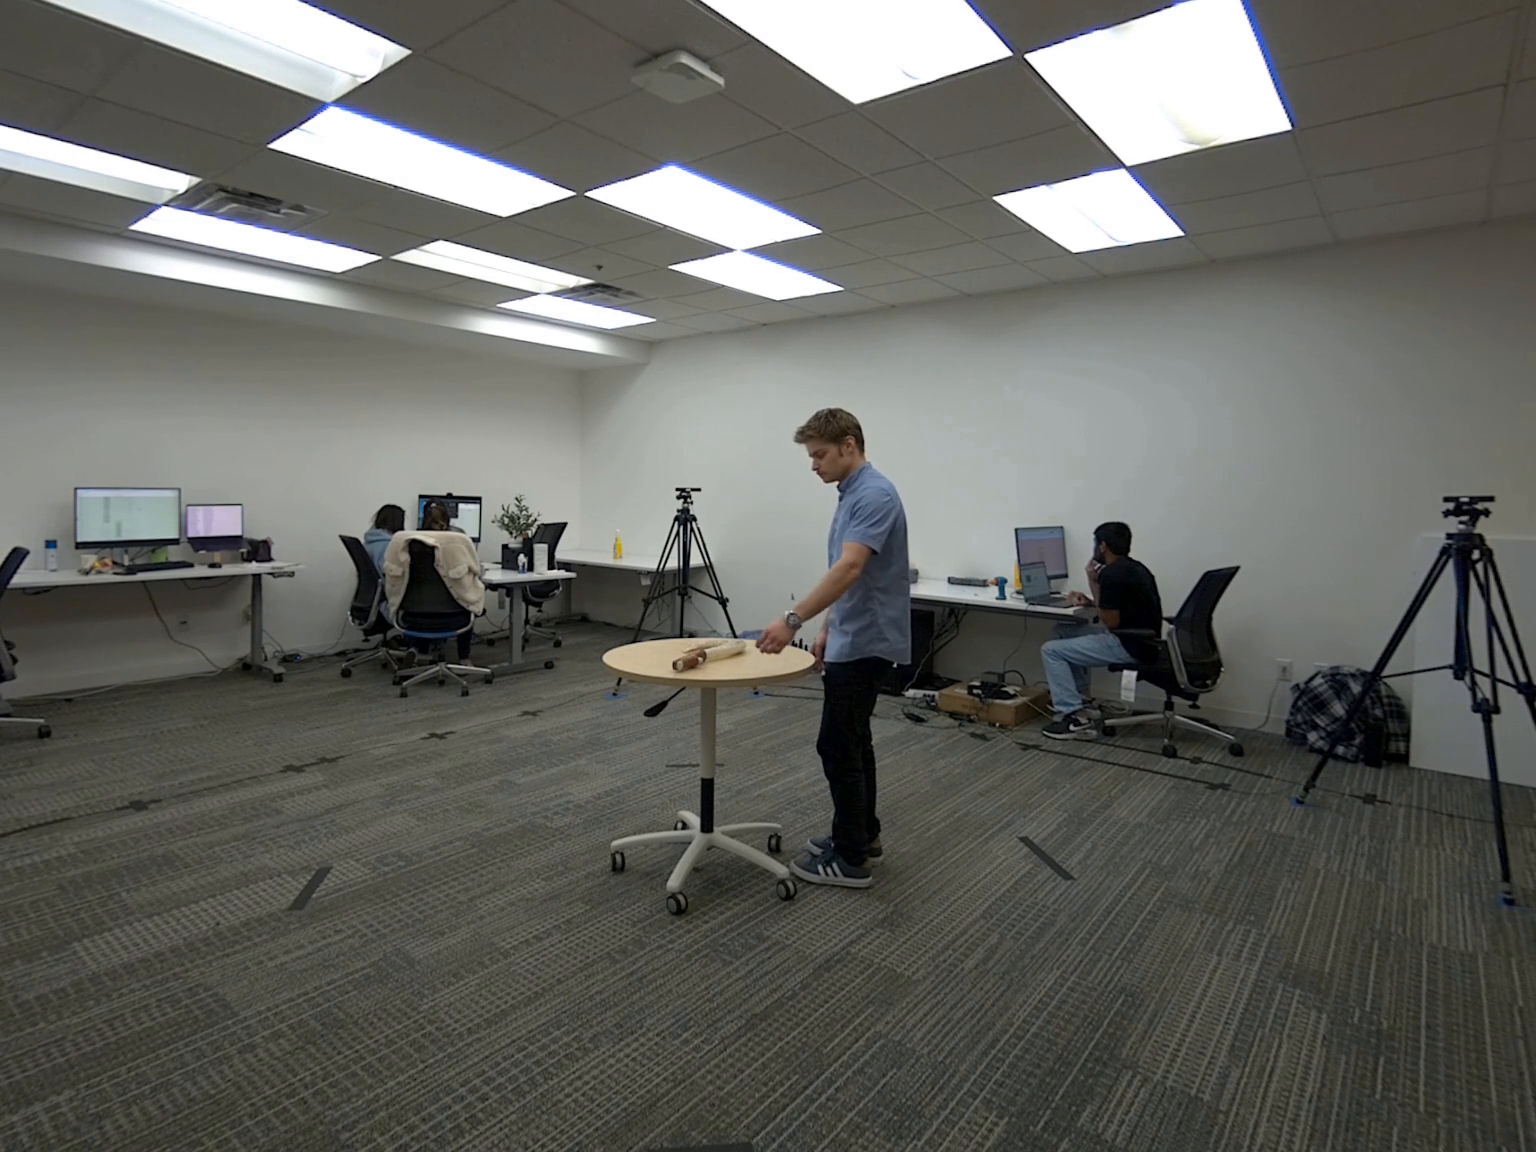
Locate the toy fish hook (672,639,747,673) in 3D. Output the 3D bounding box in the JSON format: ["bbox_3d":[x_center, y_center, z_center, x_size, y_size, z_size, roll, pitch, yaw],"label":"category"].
[{"bbox_3d":[-0.259,0.276,3.041,0.230,0.048,0.495,-5,2,24],"label":"toy fish hook"}]
